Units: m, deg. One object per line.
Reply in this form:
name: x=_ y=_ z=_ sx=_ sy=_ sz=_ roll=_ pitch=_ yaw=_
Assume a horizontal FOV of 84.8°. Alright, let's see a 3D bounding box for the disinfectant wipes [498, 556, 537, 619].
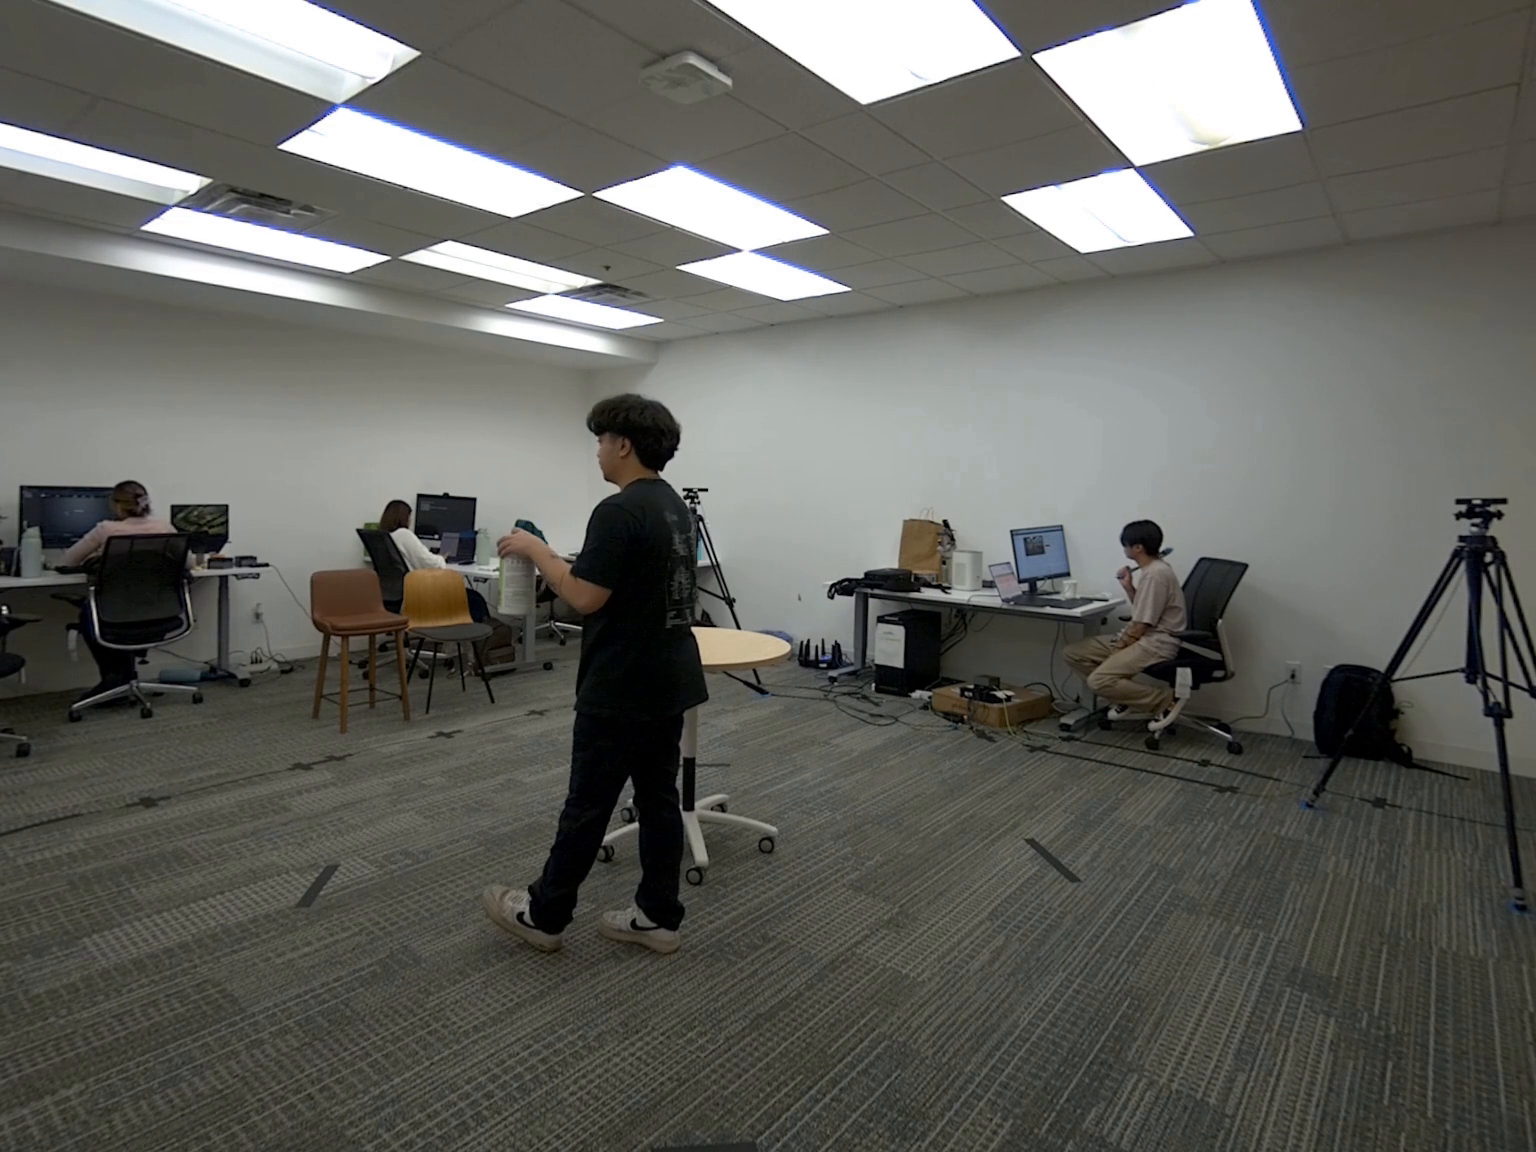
disinfectant wipes: x=-0.766 y=0.003 z=2.562 sx=0.118 sy=0.217 sz=0.118 roll=2 pitch=0 yaw=-2
